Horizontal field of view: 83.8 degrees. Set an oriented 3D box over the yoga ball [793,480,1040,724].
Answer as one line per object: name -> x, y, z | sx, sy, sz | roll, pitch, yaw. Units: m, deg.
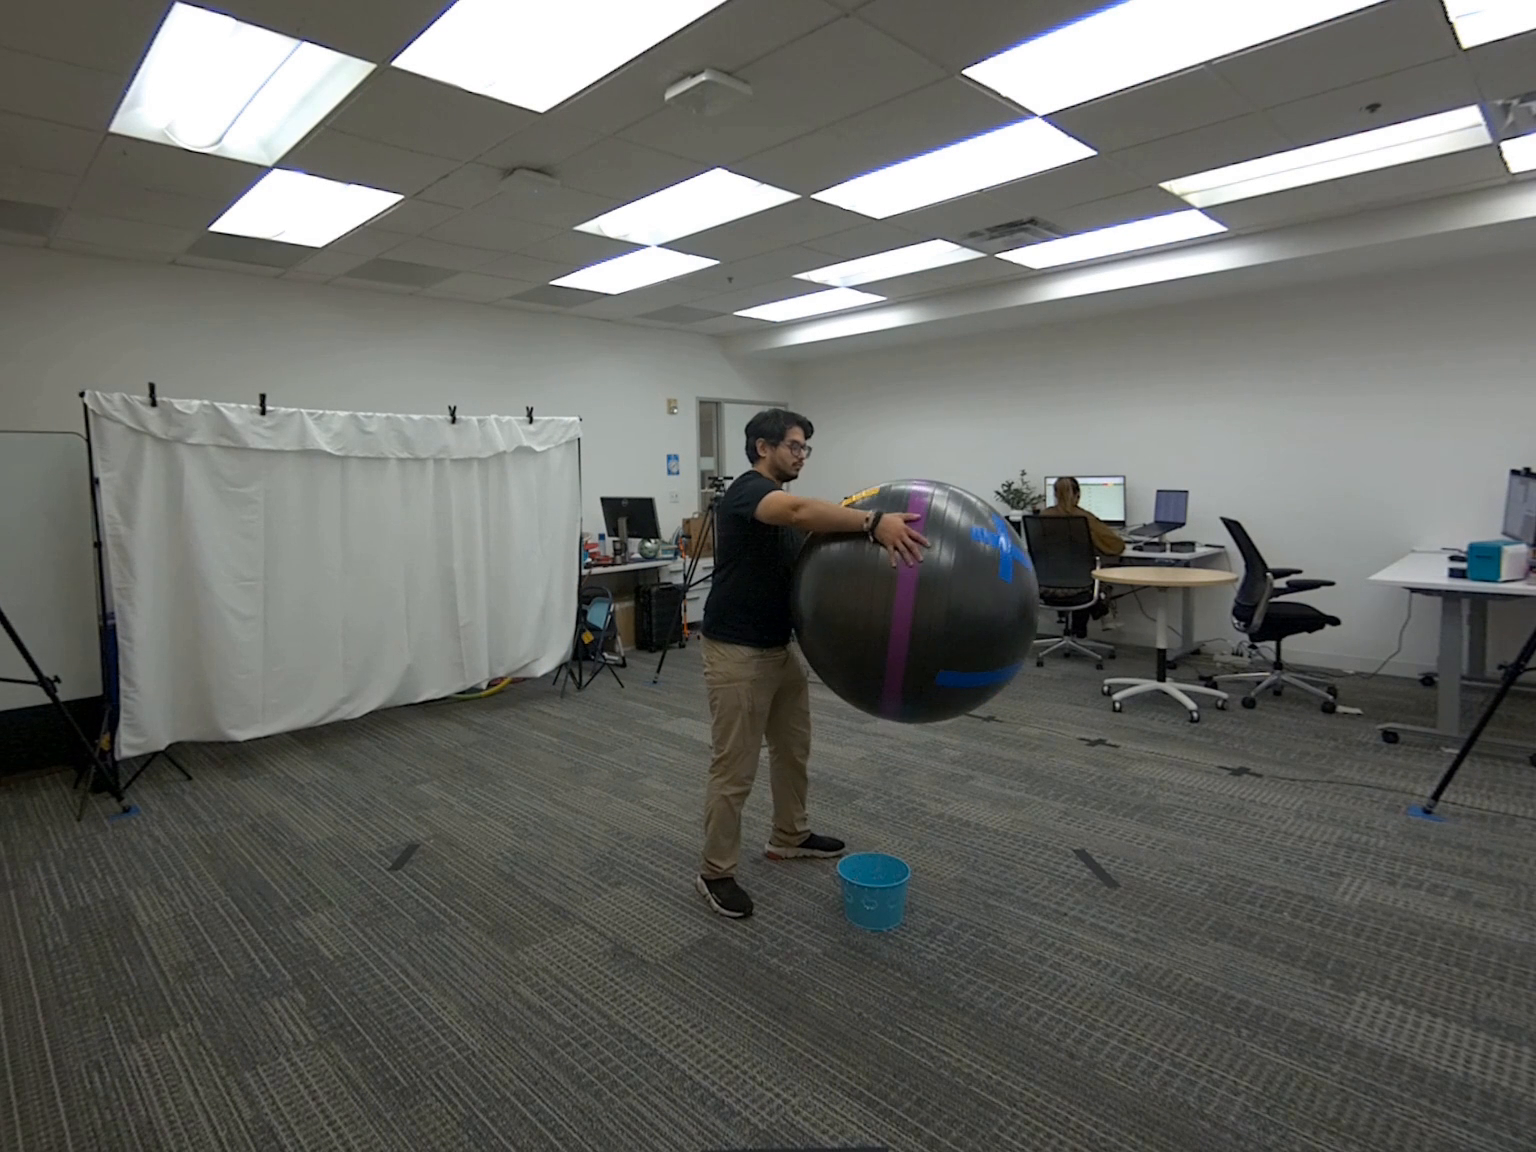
yoga ball -> 0.457, 0.082, 2.678 | 0.757, 0.755, 0.762 | -1, 5, -2
